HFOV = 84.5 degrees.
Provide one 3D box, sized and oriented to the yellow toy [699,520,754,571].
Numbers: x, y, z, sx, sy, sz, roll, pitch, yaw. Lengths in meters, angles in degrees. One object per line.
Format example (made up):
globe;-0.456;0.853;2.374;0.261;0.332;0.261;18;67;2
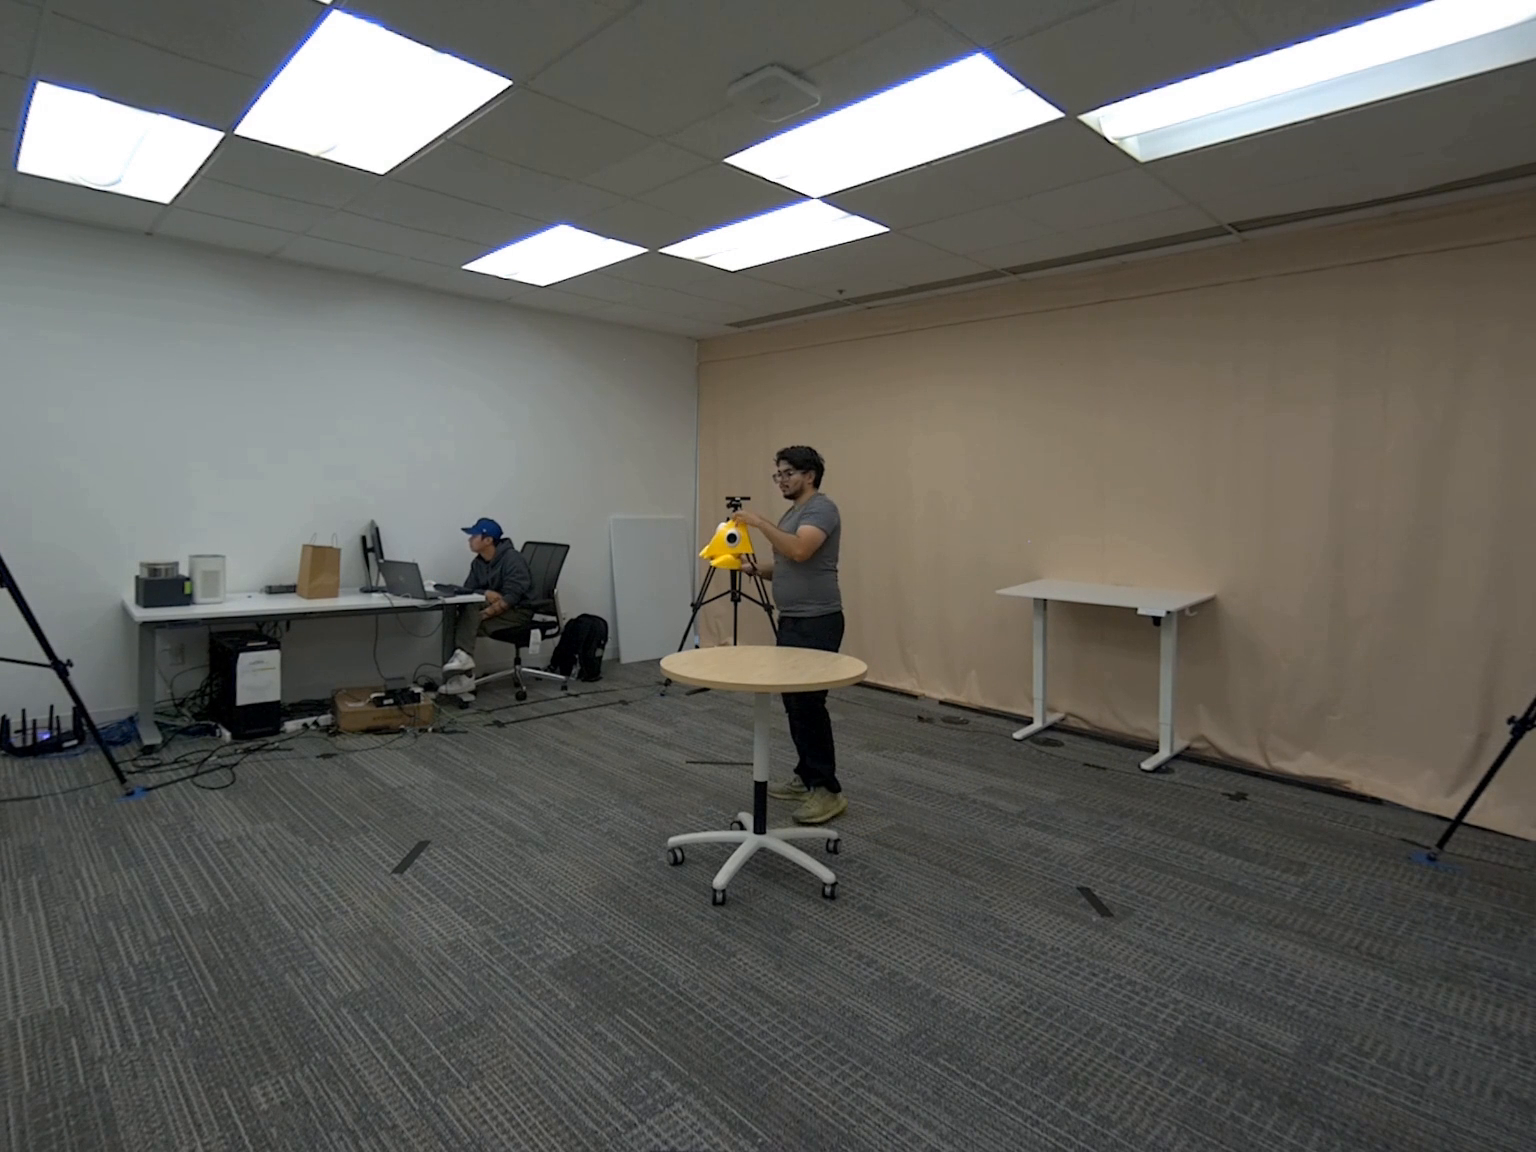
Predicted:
yellow toy;-0.187;-0.177;3.809;0.189;0.229;0.211;3;17;-31
